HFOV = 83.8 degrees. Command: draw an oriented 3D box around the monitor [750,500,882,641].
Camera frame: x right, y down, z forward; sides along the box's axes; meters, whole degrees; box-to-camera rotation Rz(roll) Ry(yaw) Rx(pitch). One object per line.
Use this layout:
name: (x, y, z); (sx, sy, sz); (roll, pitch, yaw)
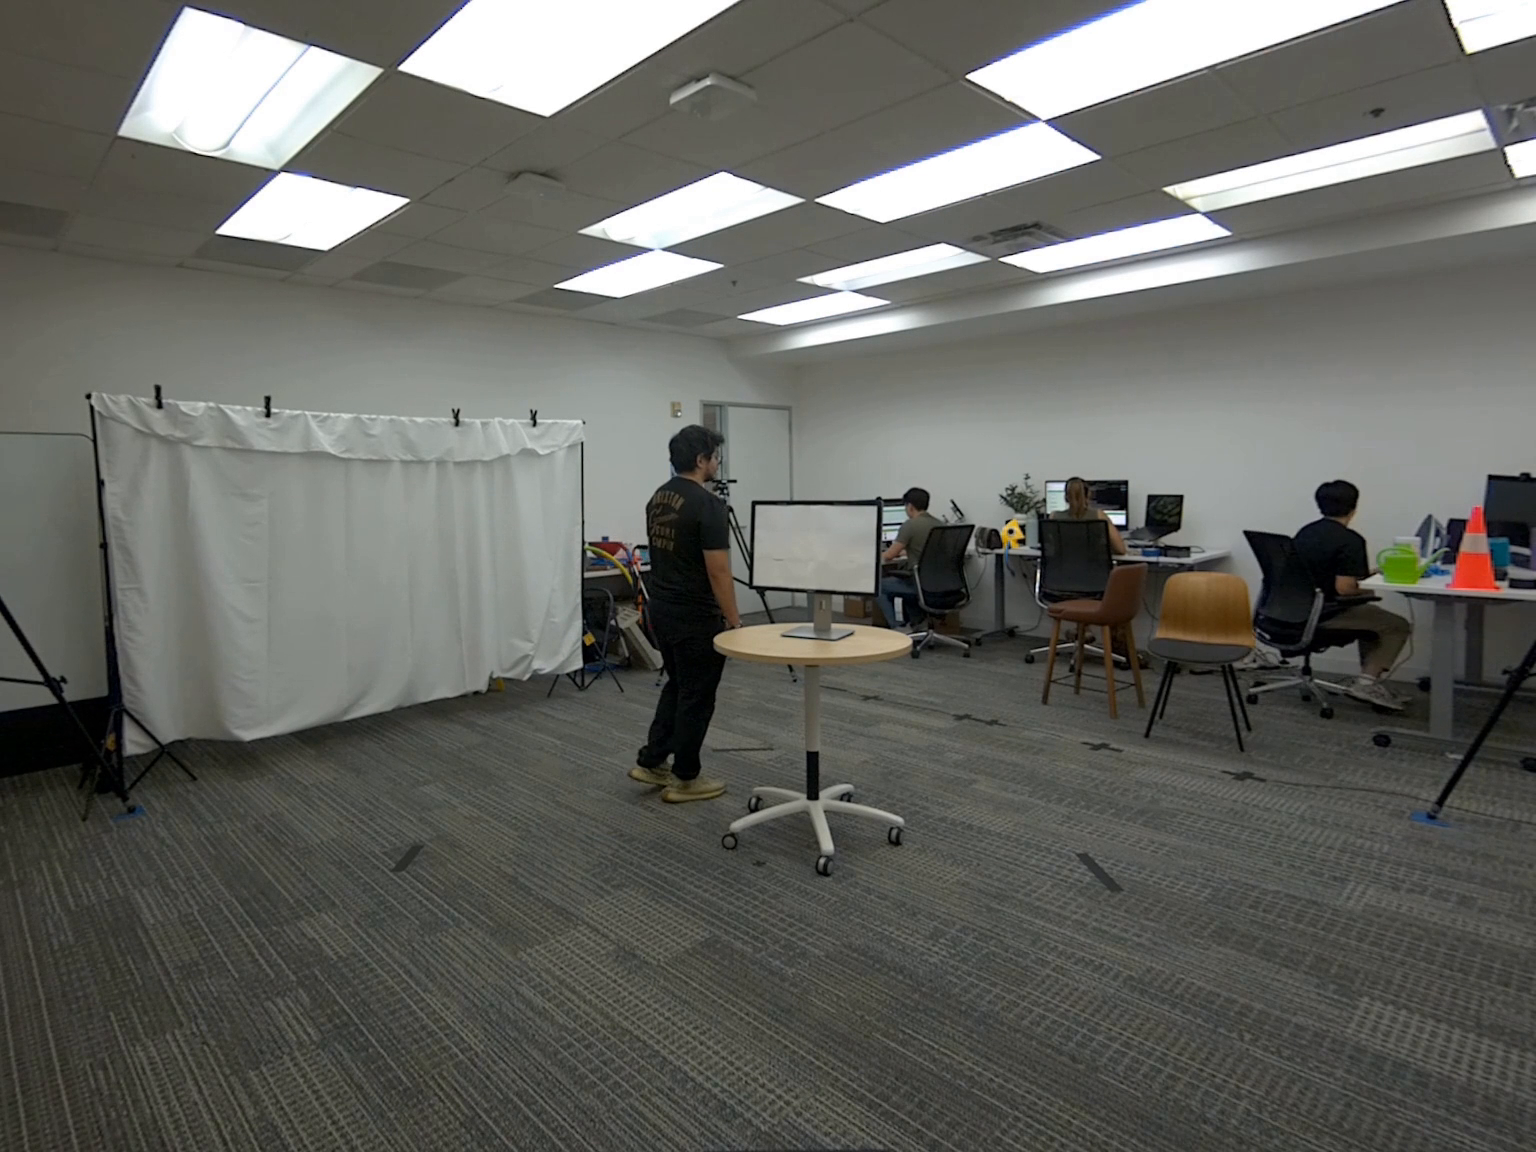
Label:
monitor: (0.211, -0.031, 3.411); (0.580, 0.553, 0.205); (2, 2, 31)
